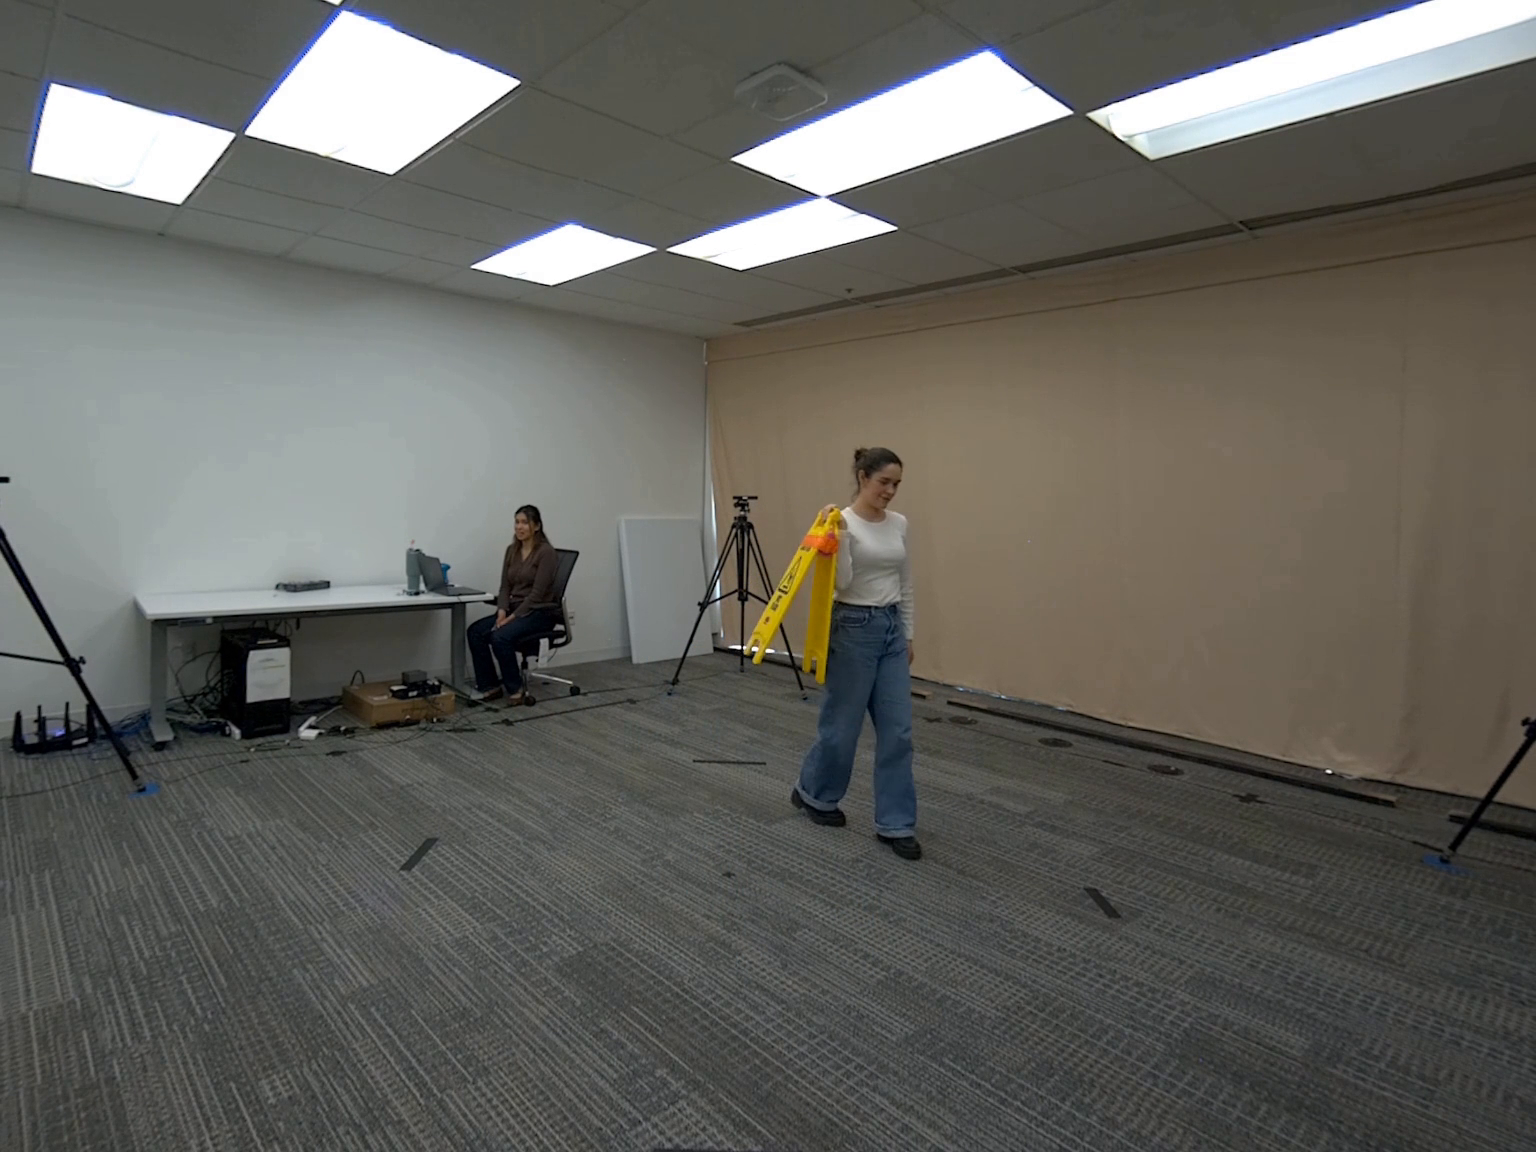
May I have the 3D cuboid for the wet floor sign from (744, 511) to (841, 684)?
[{"bbox_3d":[0.145,0.049,3.257,0.286,0.646,0.286,17,1,-13],"label":"wet floor sign"}]
